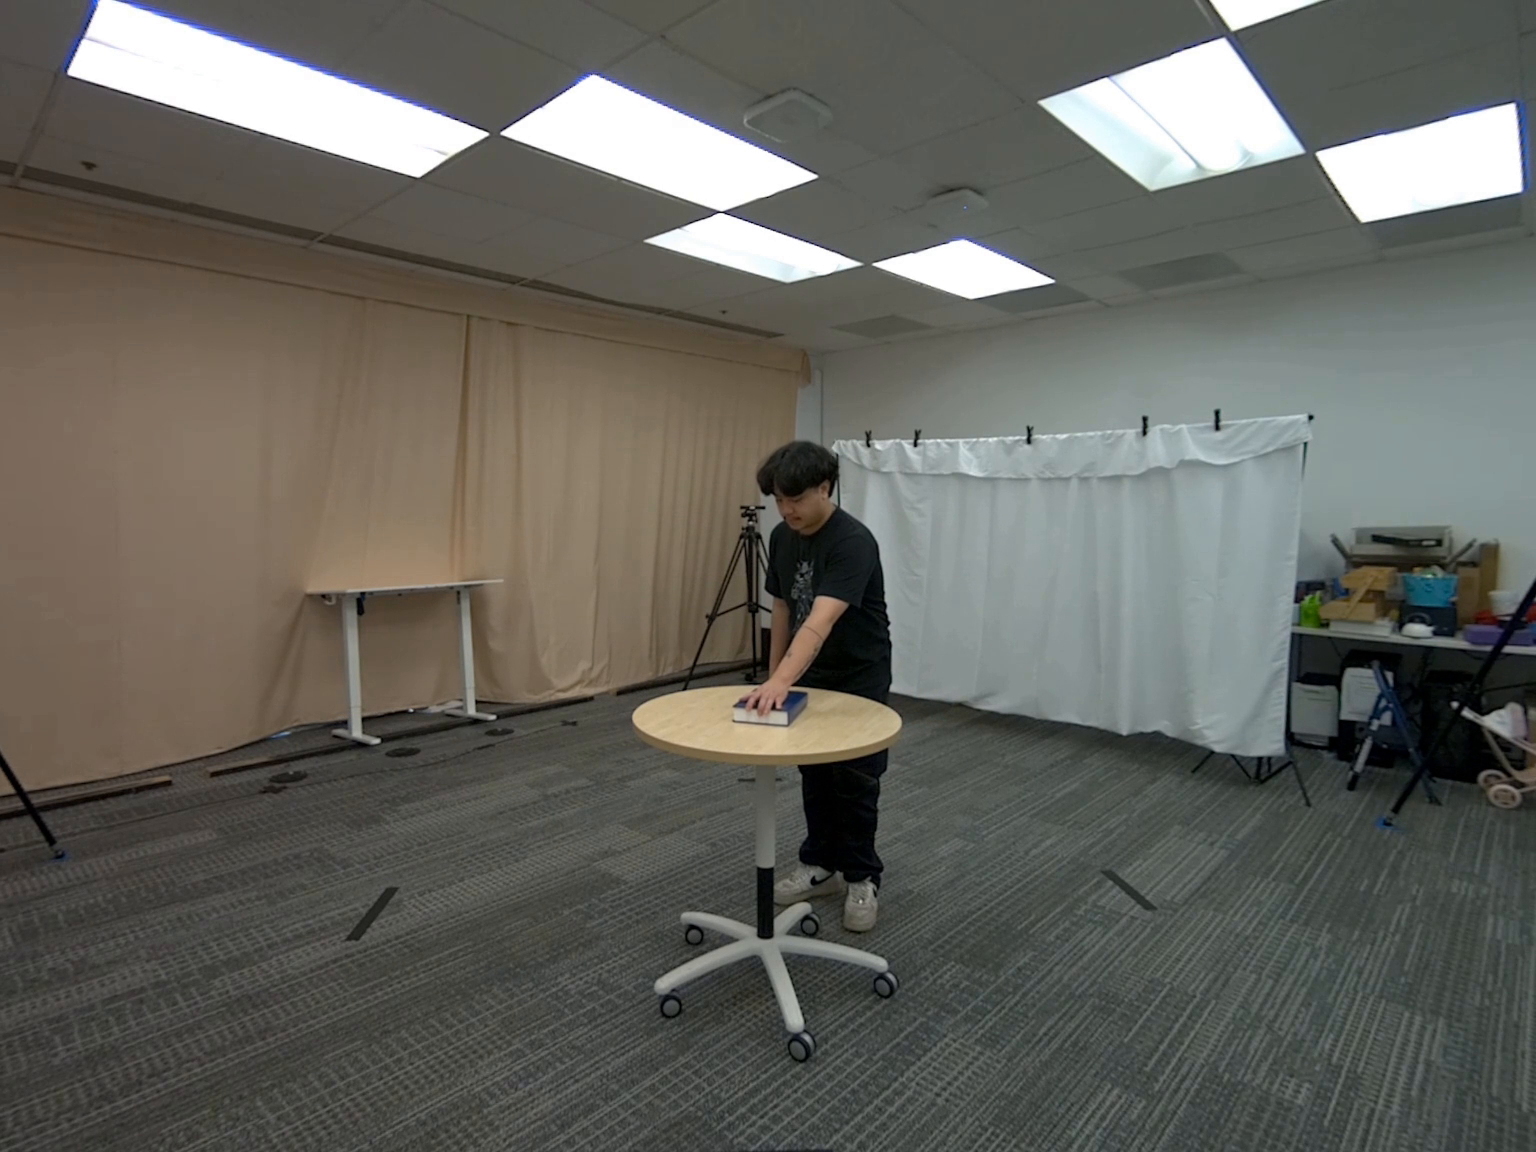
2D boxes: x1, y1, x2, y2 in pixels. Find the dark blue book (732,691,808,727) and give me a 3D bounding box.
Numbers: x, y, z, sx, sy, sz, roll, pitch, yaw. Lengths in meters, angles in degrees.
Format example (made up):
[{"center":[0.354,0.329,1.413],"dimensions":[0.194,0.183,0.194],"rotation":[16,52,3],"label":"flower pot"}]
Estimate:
[{"center":[0.009,0.379,2.424],"dimensions":[0.166,0.045,0.241],"rotation":[2,6,15],"label":"dark blue book"}]
